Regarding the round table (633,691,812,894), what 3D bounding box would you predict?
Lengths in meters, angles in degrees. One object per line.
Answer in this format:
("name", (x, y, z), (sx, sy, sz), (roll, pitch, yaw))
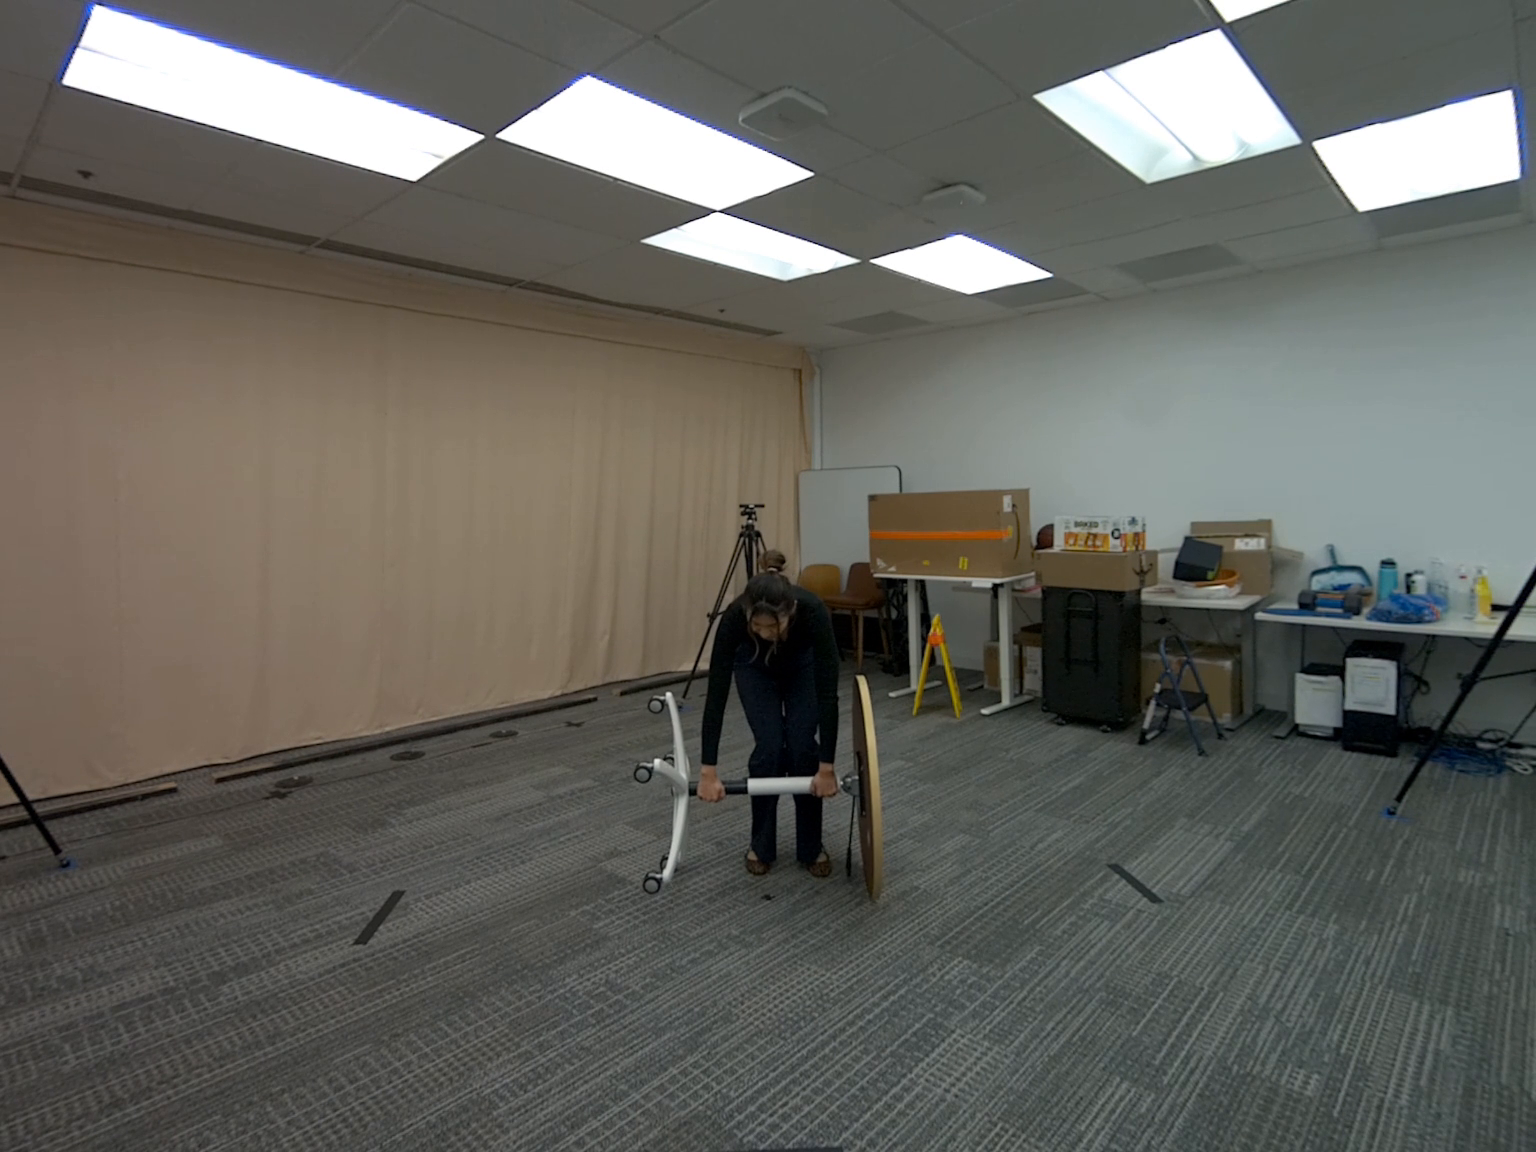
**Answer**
("round table", (-0.034, 0.769, 3.050), (0.796, 0.762, 0.764), (-3, 4, 2))
